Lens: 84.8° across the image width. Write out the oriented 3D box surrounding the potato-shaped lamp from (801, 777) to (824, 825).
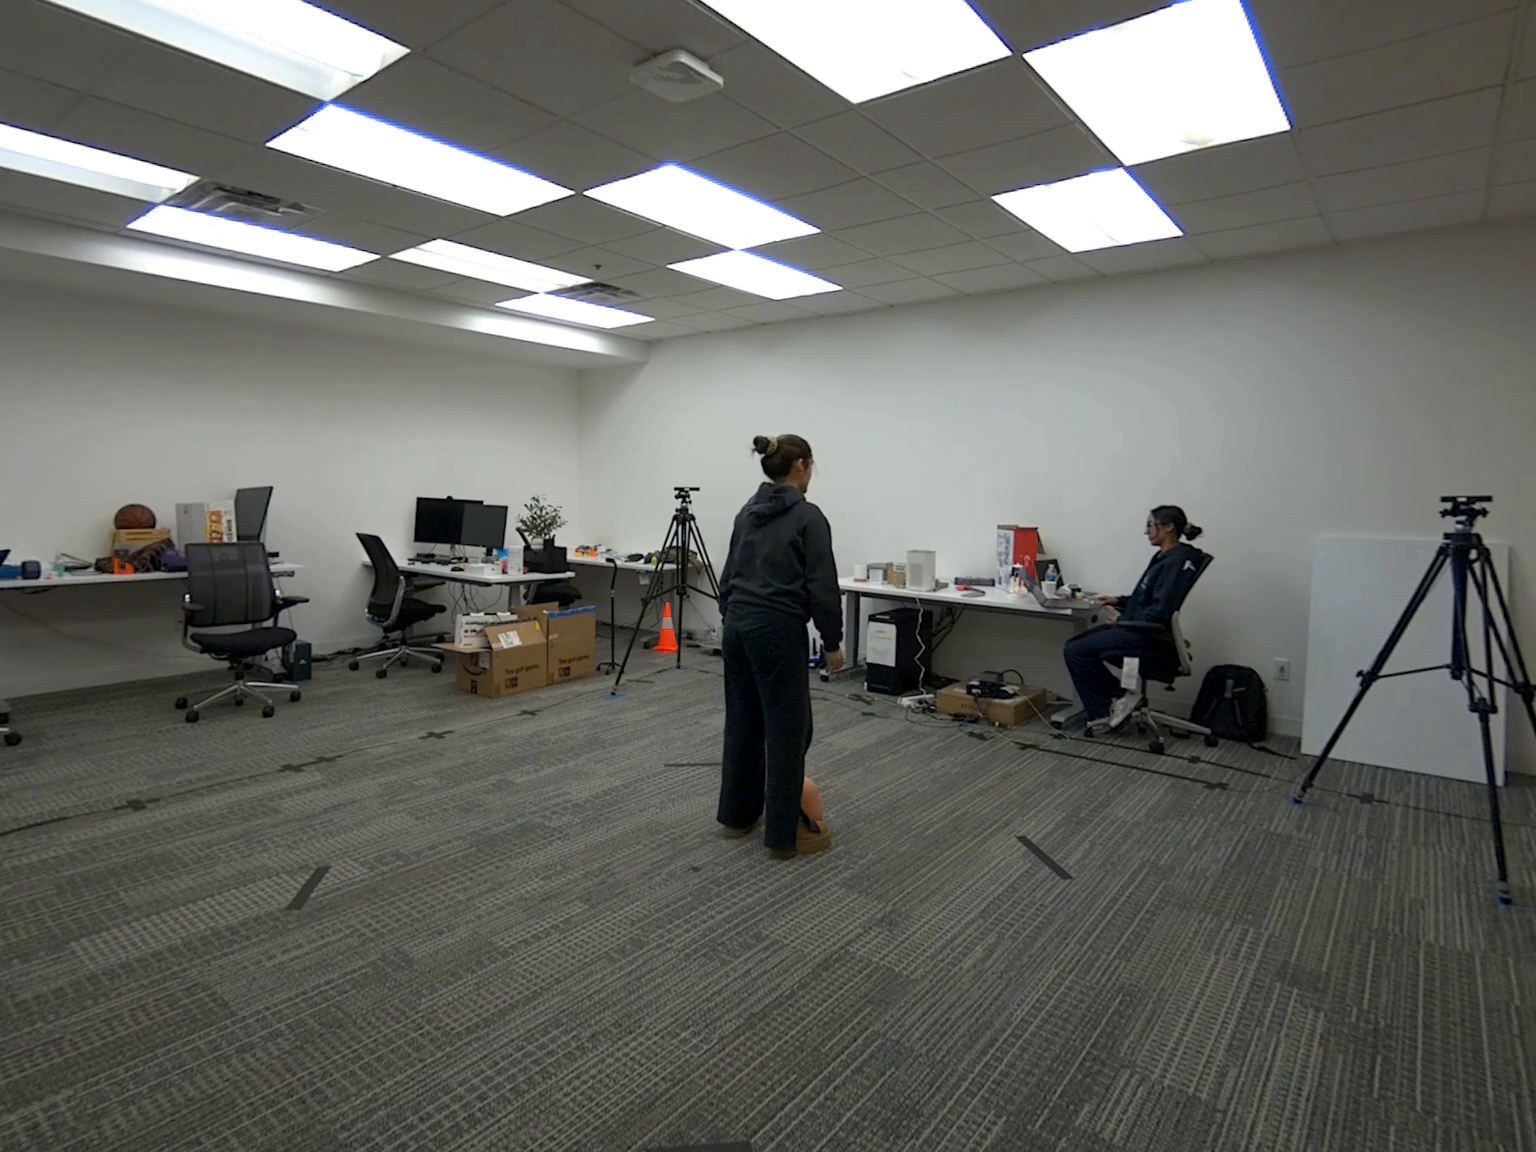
[{"bbox_3d":[0.146,0.931,3.540,0.170,0.197,0.166,5,5,39],"label":"potato-shaped lamp"}]
